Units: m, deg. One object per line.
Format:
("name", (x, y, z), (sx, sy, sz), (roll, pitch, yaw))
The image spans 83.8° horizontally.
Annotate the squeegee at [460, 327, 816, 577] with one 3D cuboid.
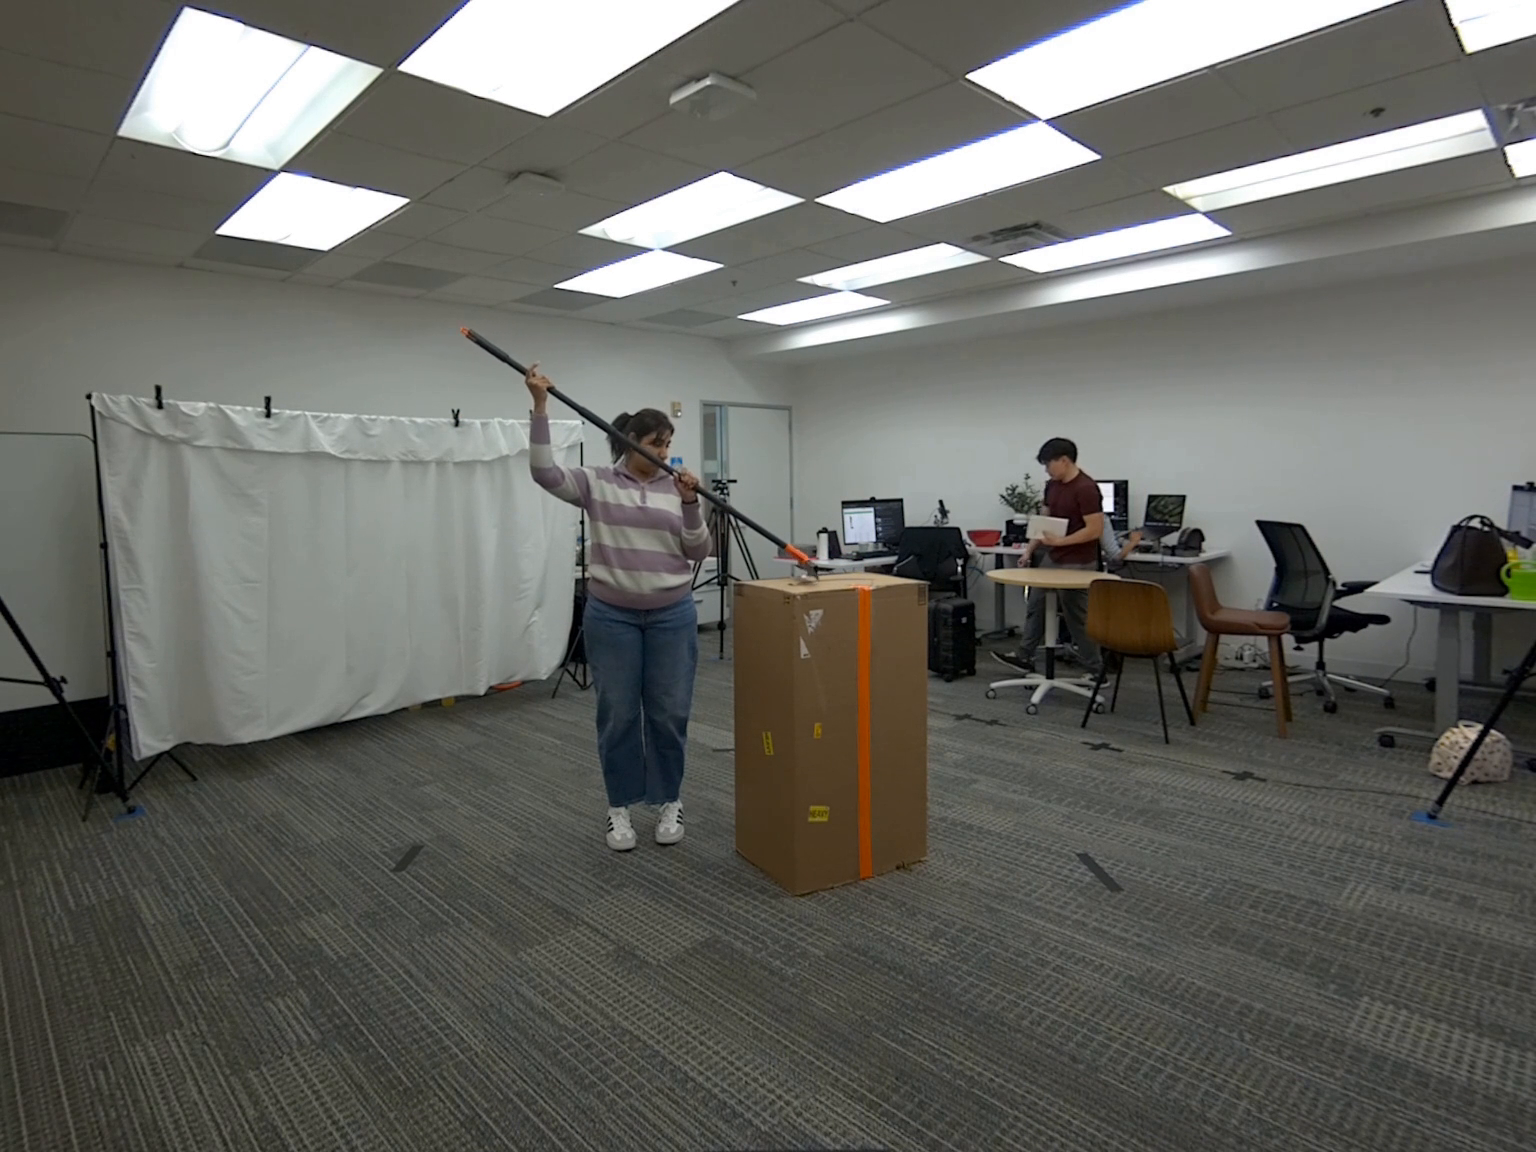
("squeegee", (-0.447, -0.448, 3.097), (1.529, 0.053, 0.440), (35, -3, -4))
